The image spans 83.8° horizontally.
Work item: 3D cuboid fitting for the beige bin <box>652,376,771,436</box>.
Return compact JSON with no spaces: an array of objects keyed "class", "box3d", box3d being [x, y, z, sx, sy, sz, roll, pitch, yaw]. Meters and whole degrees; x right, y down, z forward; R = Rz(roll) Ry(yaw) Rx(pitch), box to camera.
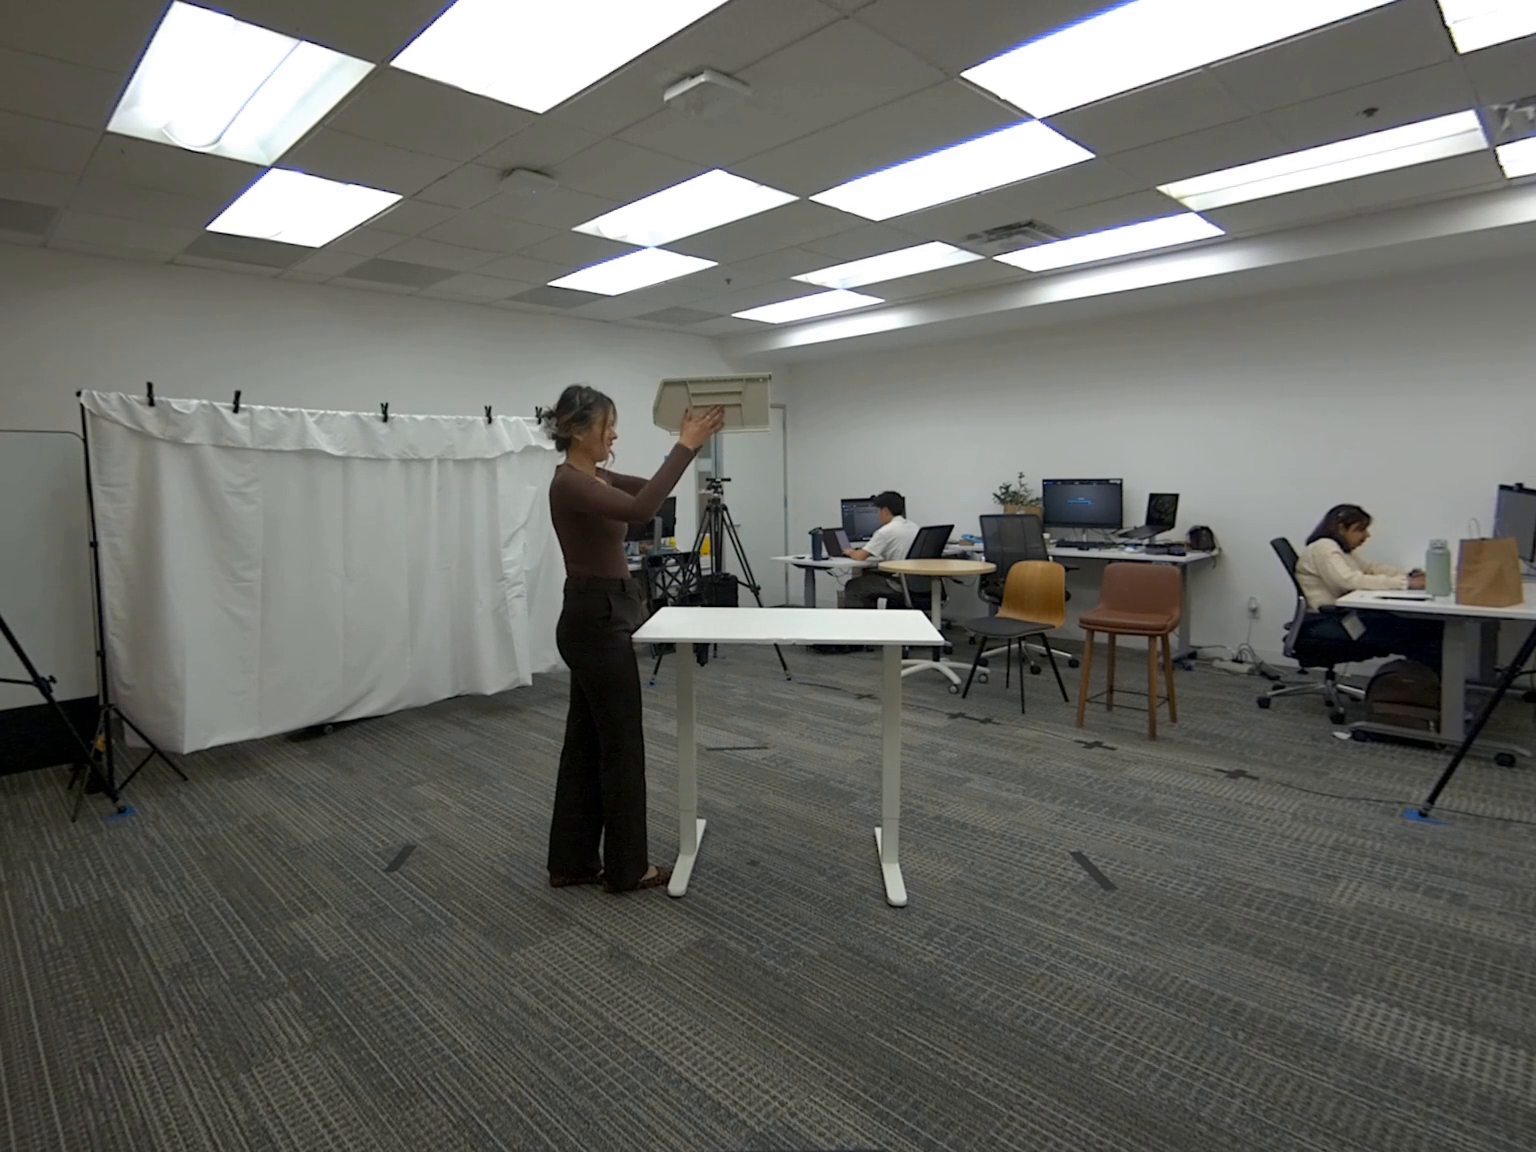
[{"class":"beige bin","box3d":[-0.179,-0.585,2.865,0.378,0.187,0.425,3,10,1]}]
